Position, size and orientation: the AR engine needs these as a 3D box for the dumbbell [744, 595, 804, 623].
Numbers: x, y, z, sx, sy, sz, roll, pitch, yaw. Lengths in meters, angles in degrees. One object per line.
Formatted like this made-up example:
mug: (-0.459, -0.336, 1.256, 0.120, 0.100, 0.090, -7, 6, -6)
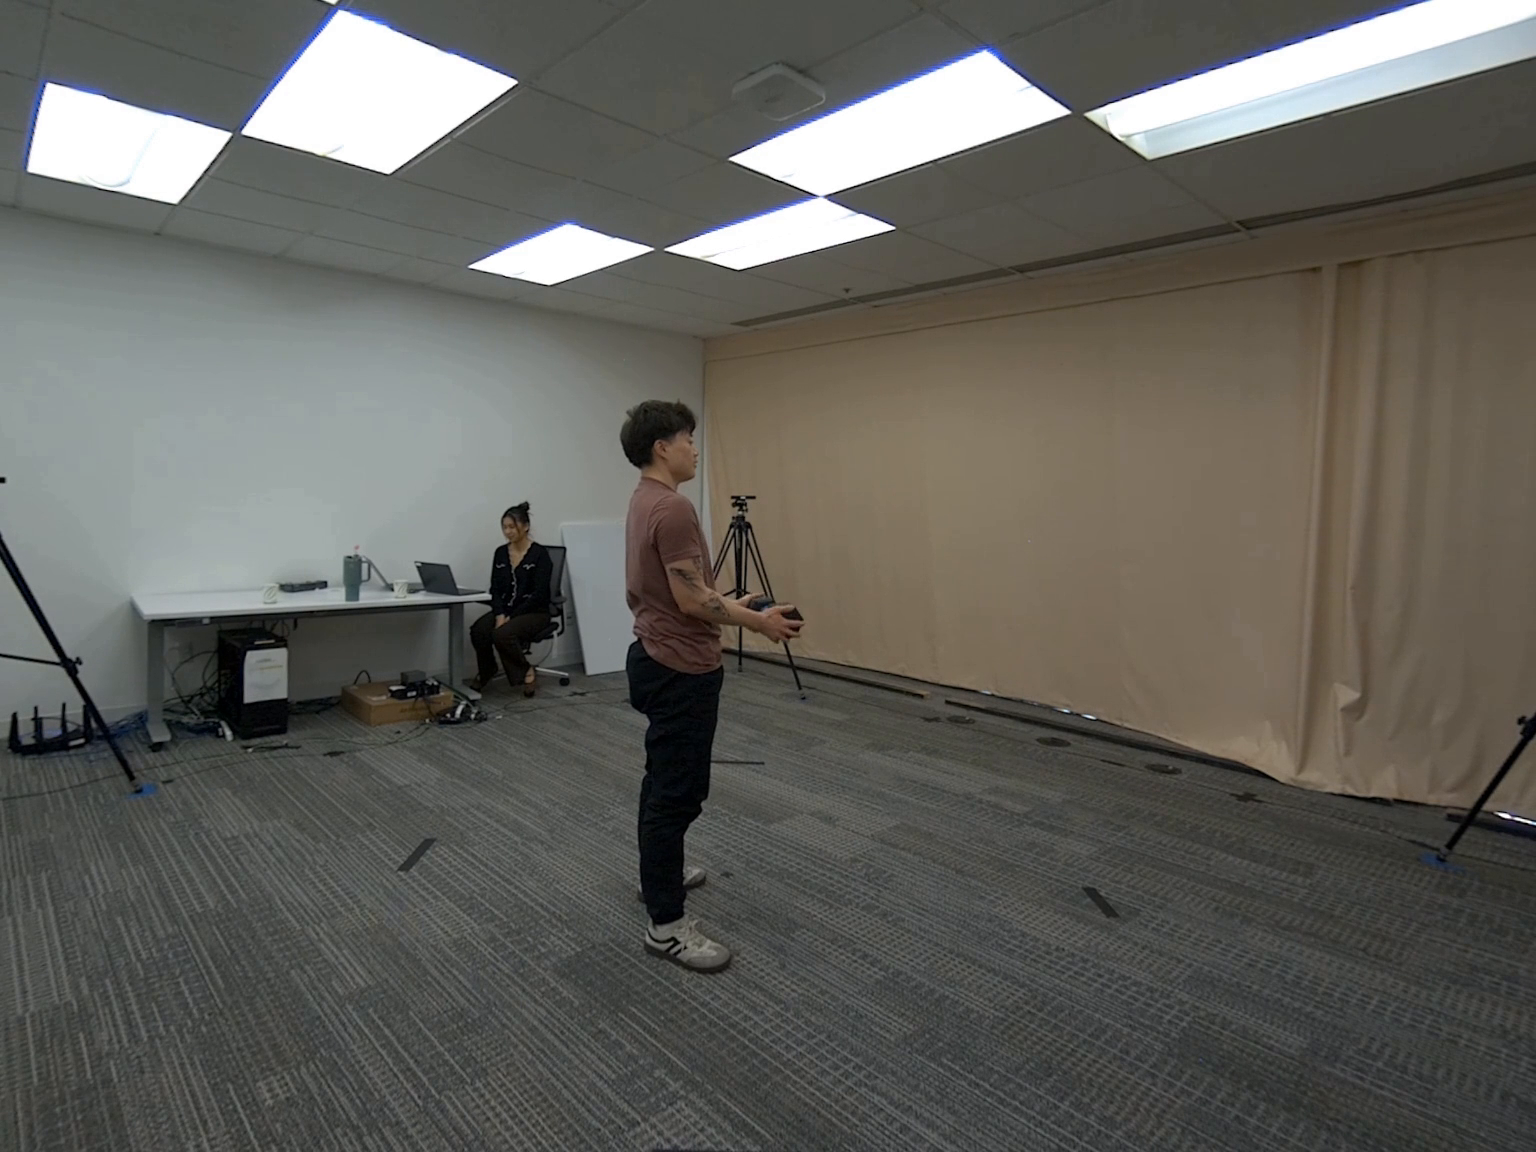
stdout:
dumbbell: (0.010, 0.131, 2.748, 0.108, 0.121, 0.297, -39, 12, -10)
